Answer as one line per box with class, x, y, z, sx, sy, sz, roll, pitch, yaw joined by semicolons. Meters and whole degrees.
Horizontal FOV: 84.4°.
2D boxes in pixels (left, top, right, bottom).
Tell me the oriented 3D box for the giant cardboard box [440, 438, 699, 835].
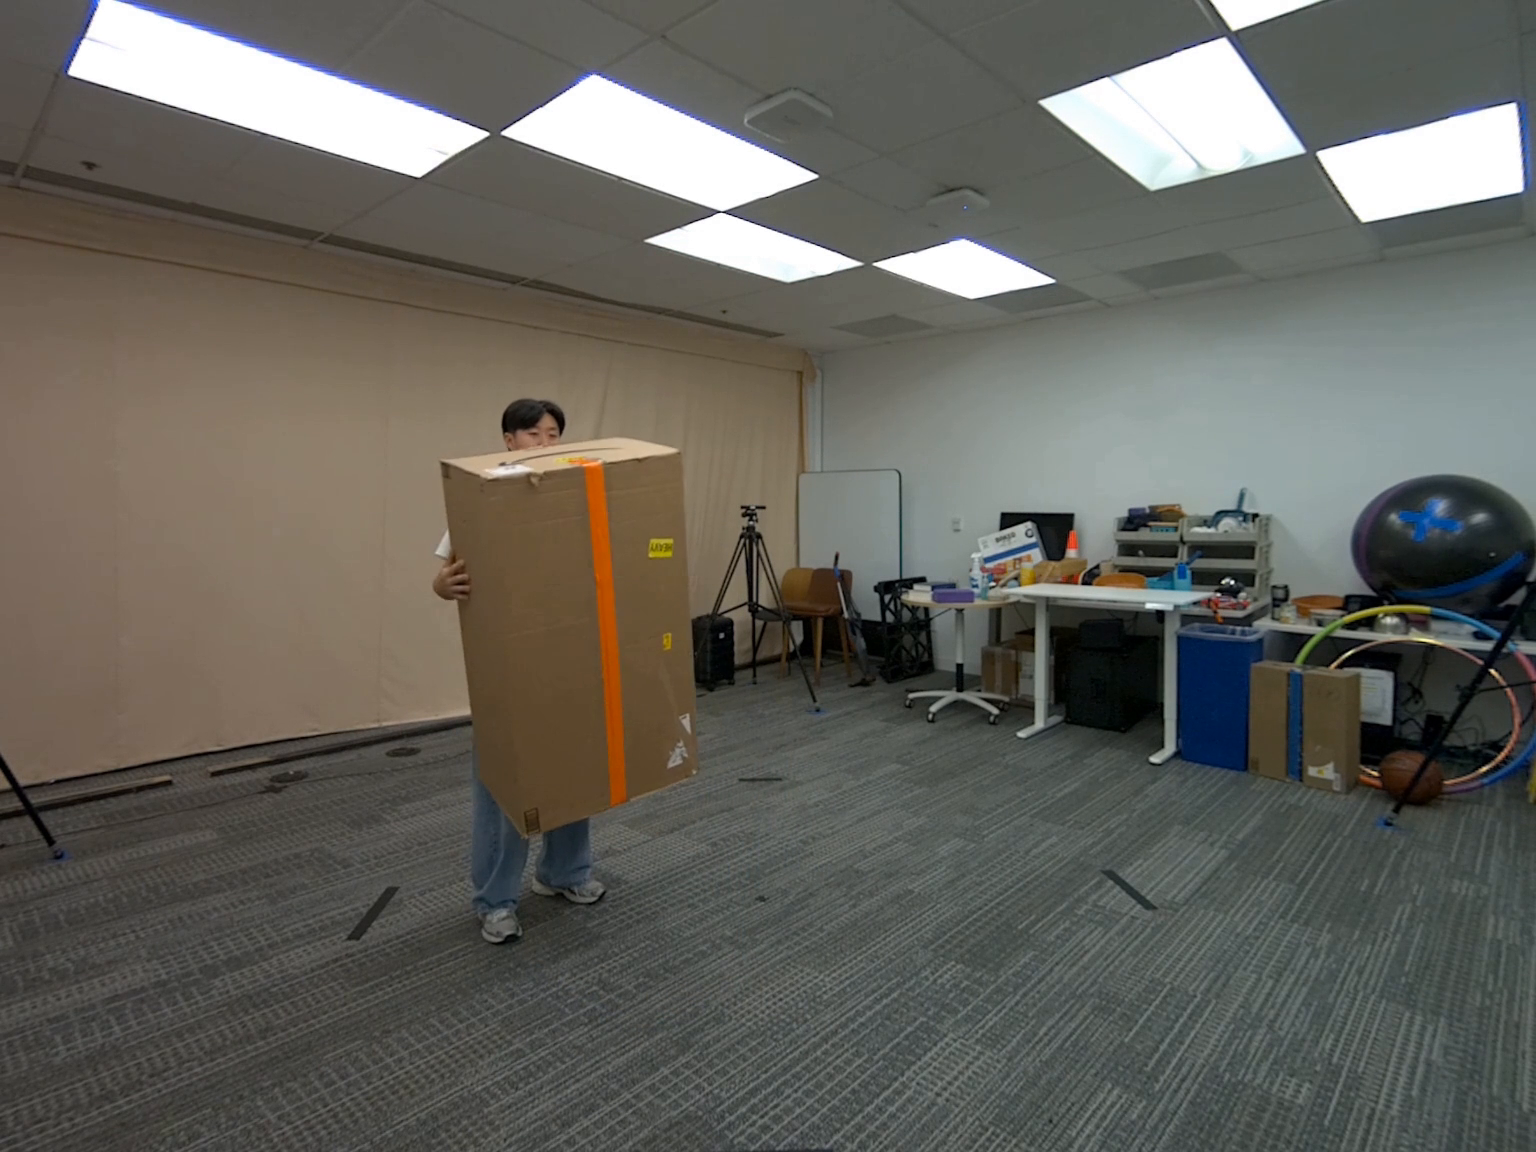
giant cardboard box;-0.574;0.144;2.522;0.563;1.015;0.441;-12;18;-33
